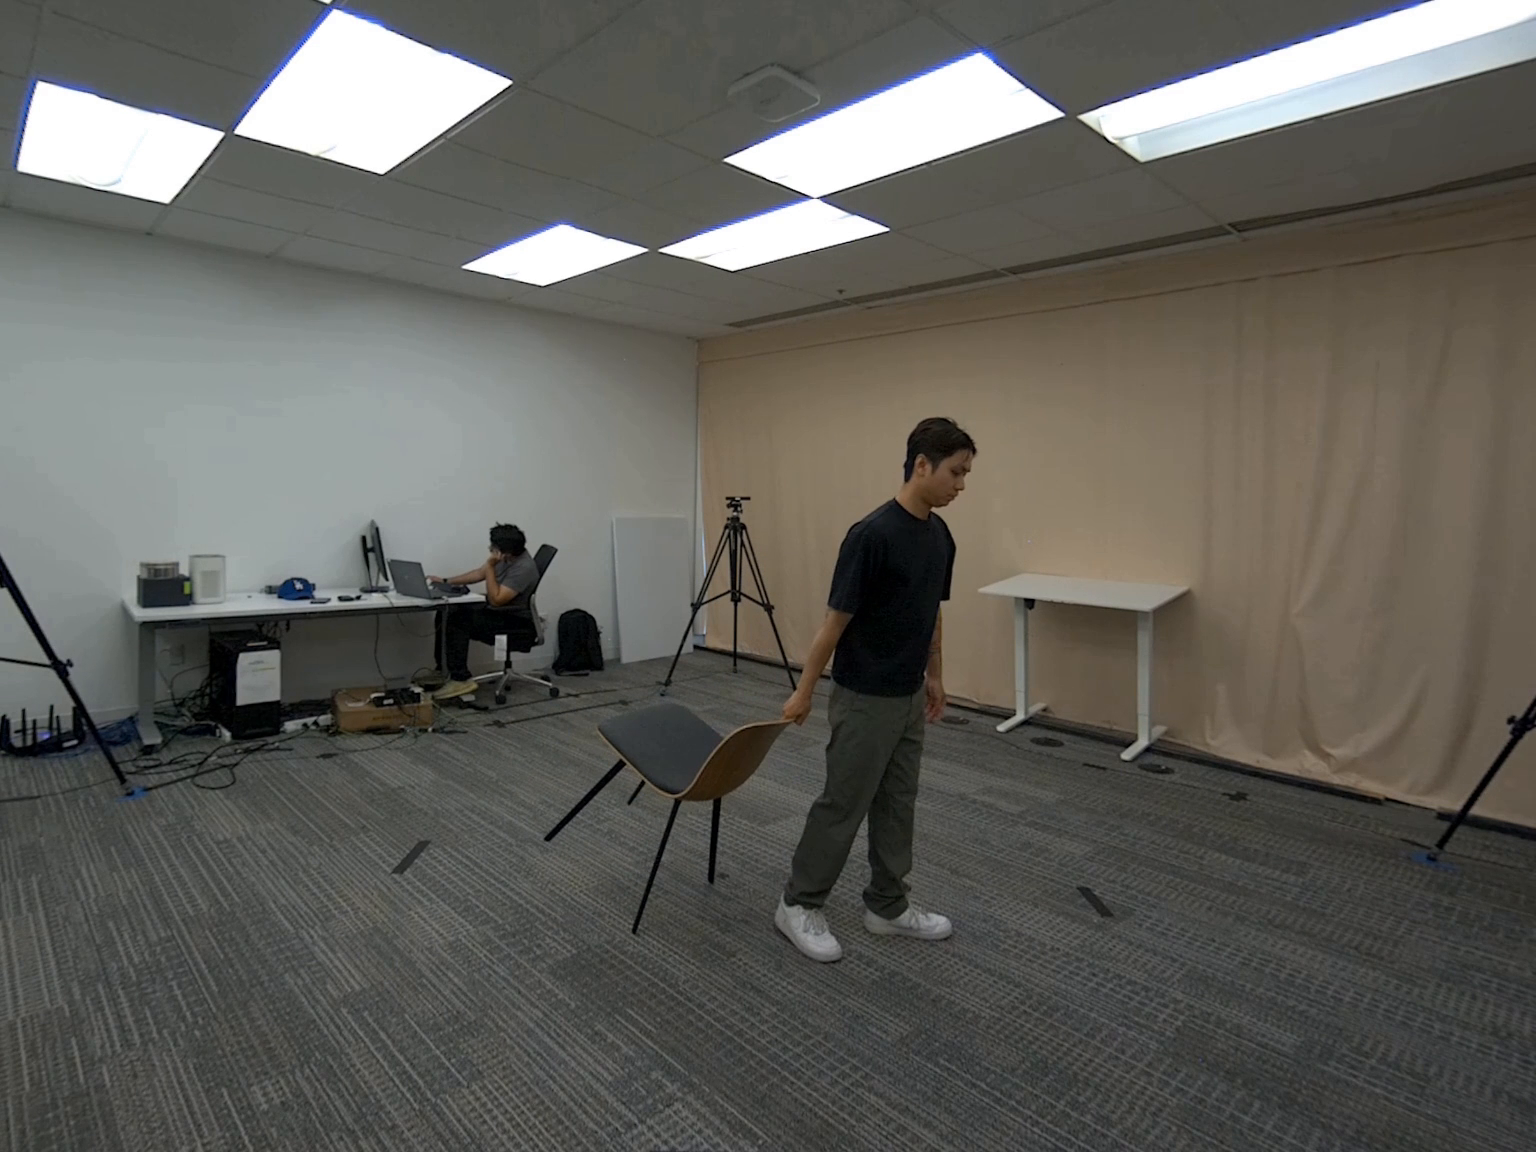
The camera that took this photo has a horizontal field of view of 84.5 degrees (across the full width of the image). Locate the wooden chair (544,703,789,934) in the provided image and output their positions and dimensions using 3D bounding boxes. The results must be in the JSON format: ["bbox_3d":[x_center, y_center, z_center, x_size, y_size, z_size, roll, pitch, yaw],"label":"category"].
[{"bbox_3d":[-0.313,0.636,2.834,0.536,0.873,0.468,40,22,25],"label":"wooden chair"}]
